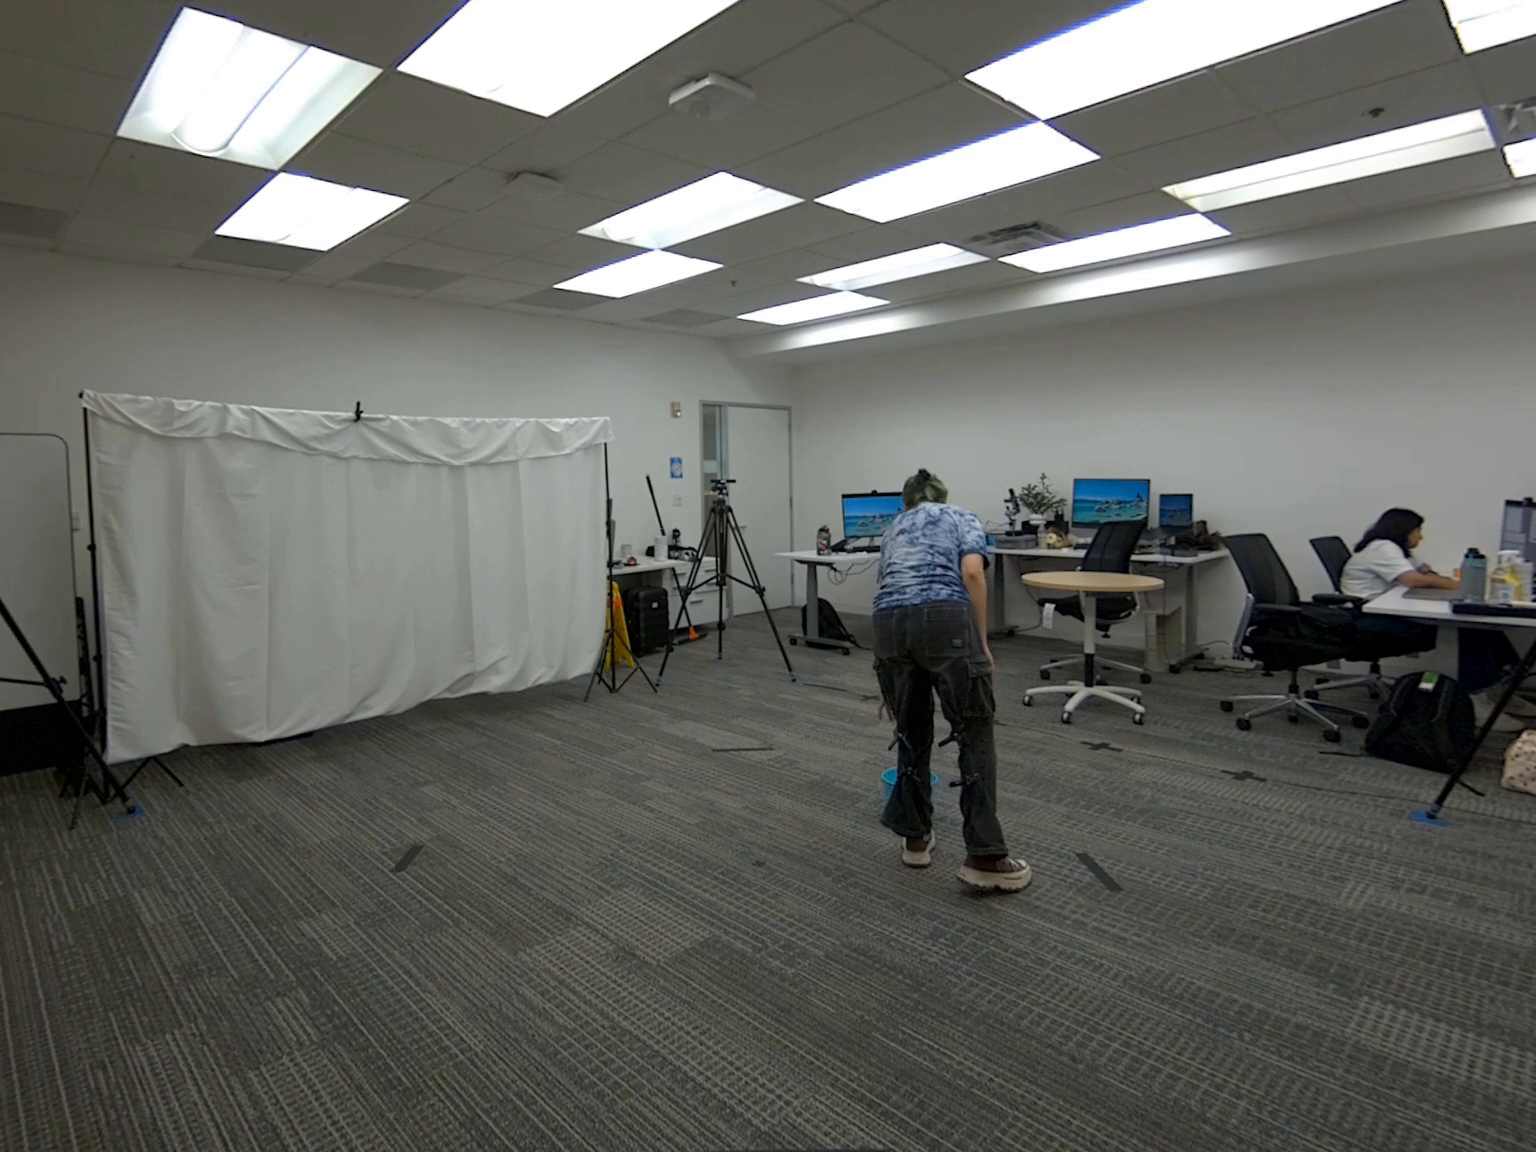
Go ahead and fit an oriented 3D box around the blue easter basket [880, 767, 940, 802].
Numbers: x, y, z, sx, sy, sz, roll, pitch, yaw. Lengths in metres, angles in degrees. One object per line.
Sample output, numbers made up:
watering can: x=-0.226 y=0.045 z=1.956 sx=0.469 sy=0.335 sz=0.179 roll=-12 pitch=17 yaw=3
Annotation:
blue easter basket: x=0.591 y=0.908 z=3.556 sx=0.243 sy=0.155 sz=0.245 roll=-1 pitch=5 yaw=-2
